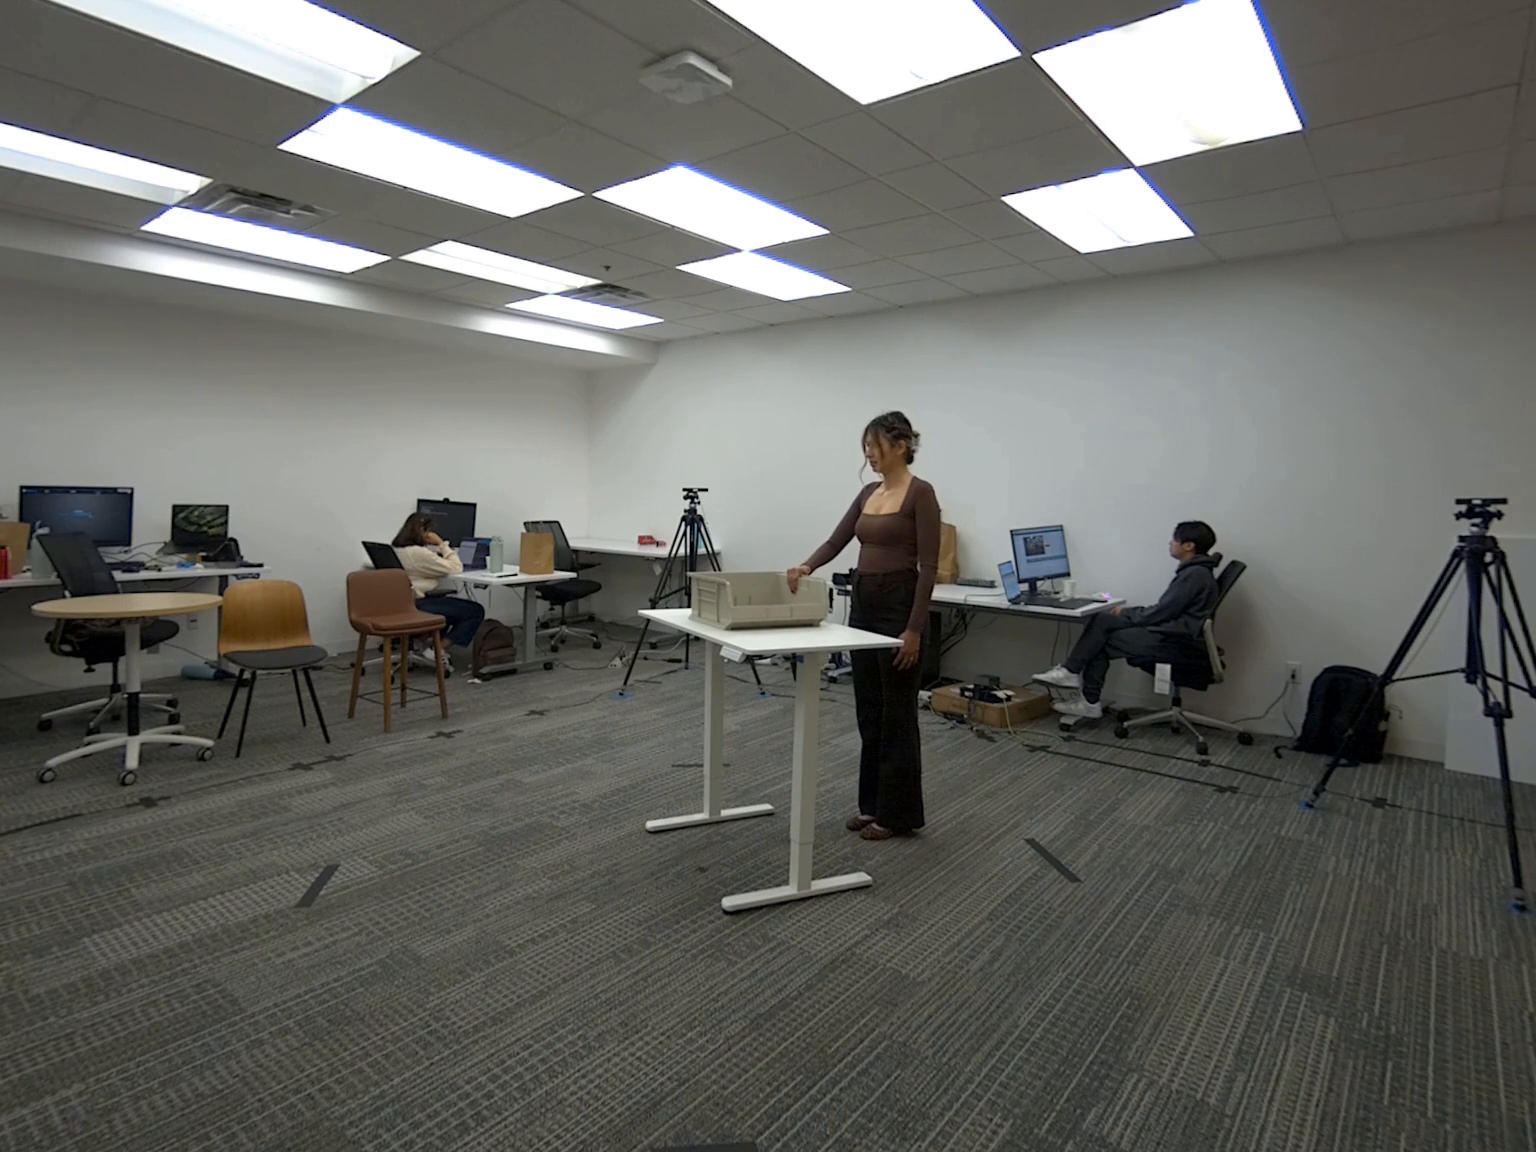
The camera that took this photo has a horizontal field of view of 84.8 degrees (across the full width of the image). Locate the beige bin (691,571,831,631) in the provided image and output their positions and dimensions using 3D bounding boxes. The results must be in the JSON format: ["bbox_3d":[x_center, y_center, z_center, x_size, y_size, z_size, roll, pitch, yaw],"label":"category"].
[{"bbox_3d":[-0.048,0.089,3.241,0.412,0.188,0.388,-2,5,-28],"label":"beige bin"}]
